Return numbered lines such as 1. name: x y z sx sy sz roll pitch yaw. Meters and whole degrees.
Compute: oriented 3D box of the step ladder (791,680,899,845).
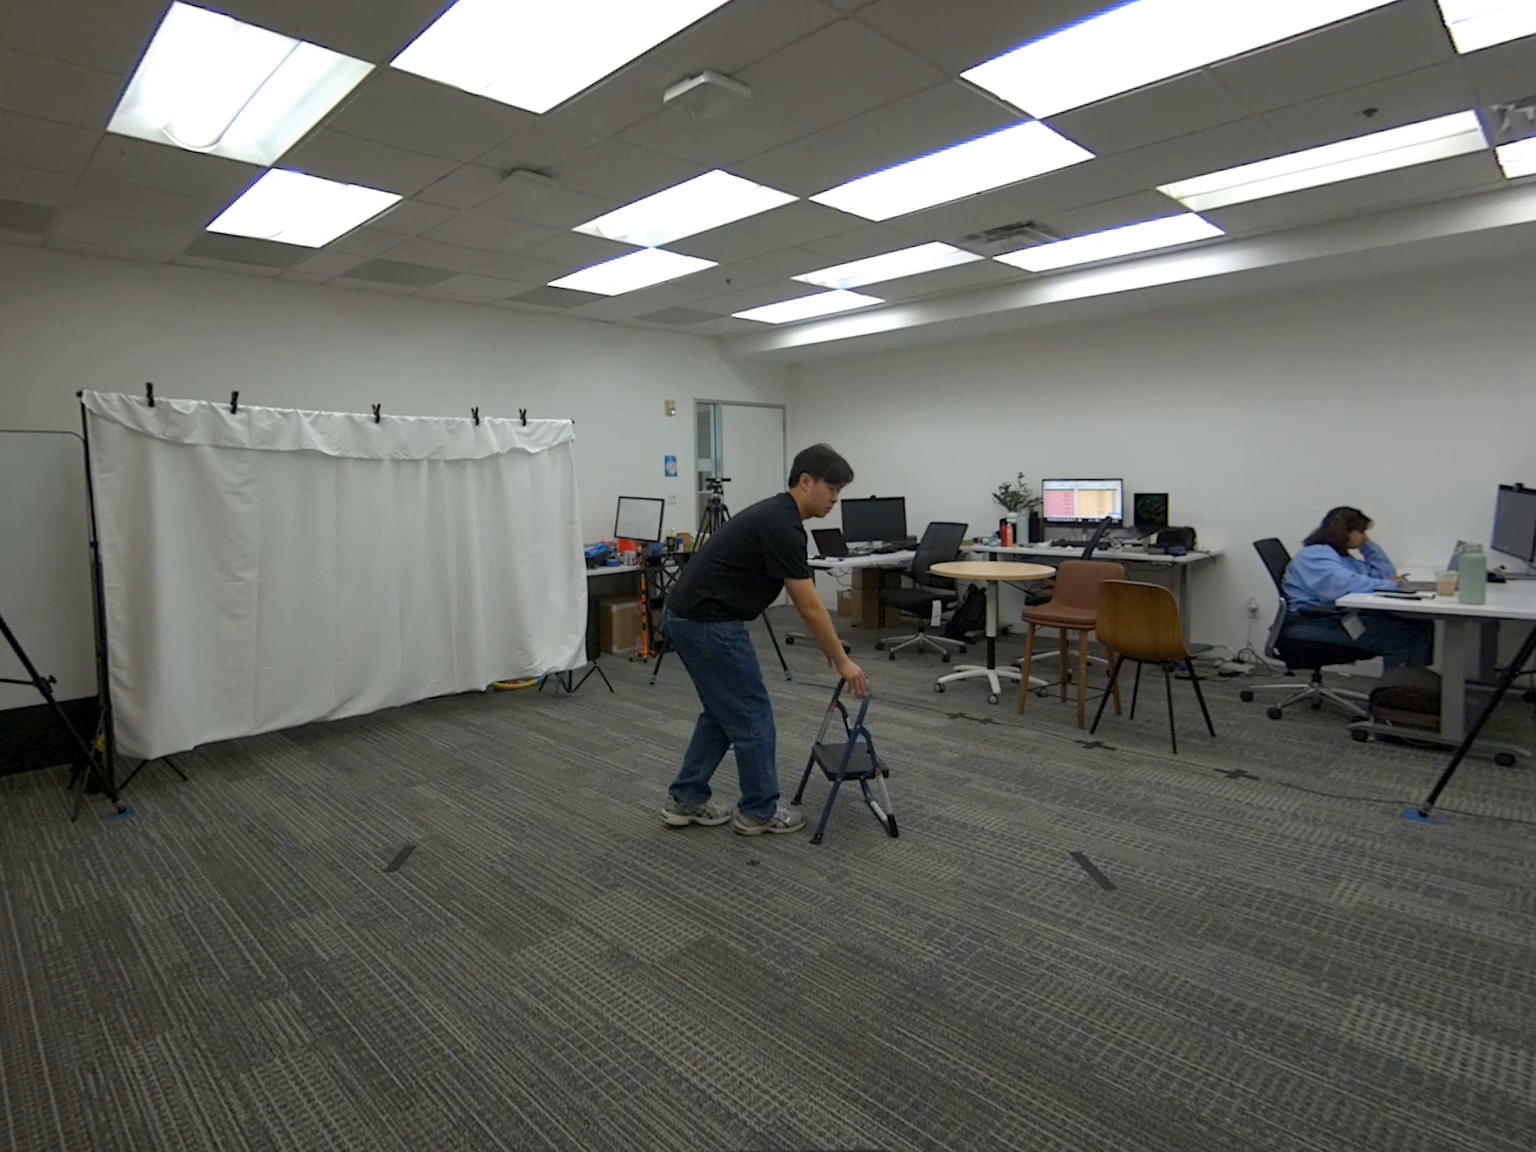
1. step ladder: 0.292 0.693 3.461 0.346 0.604 0.436 -2 4 -9
